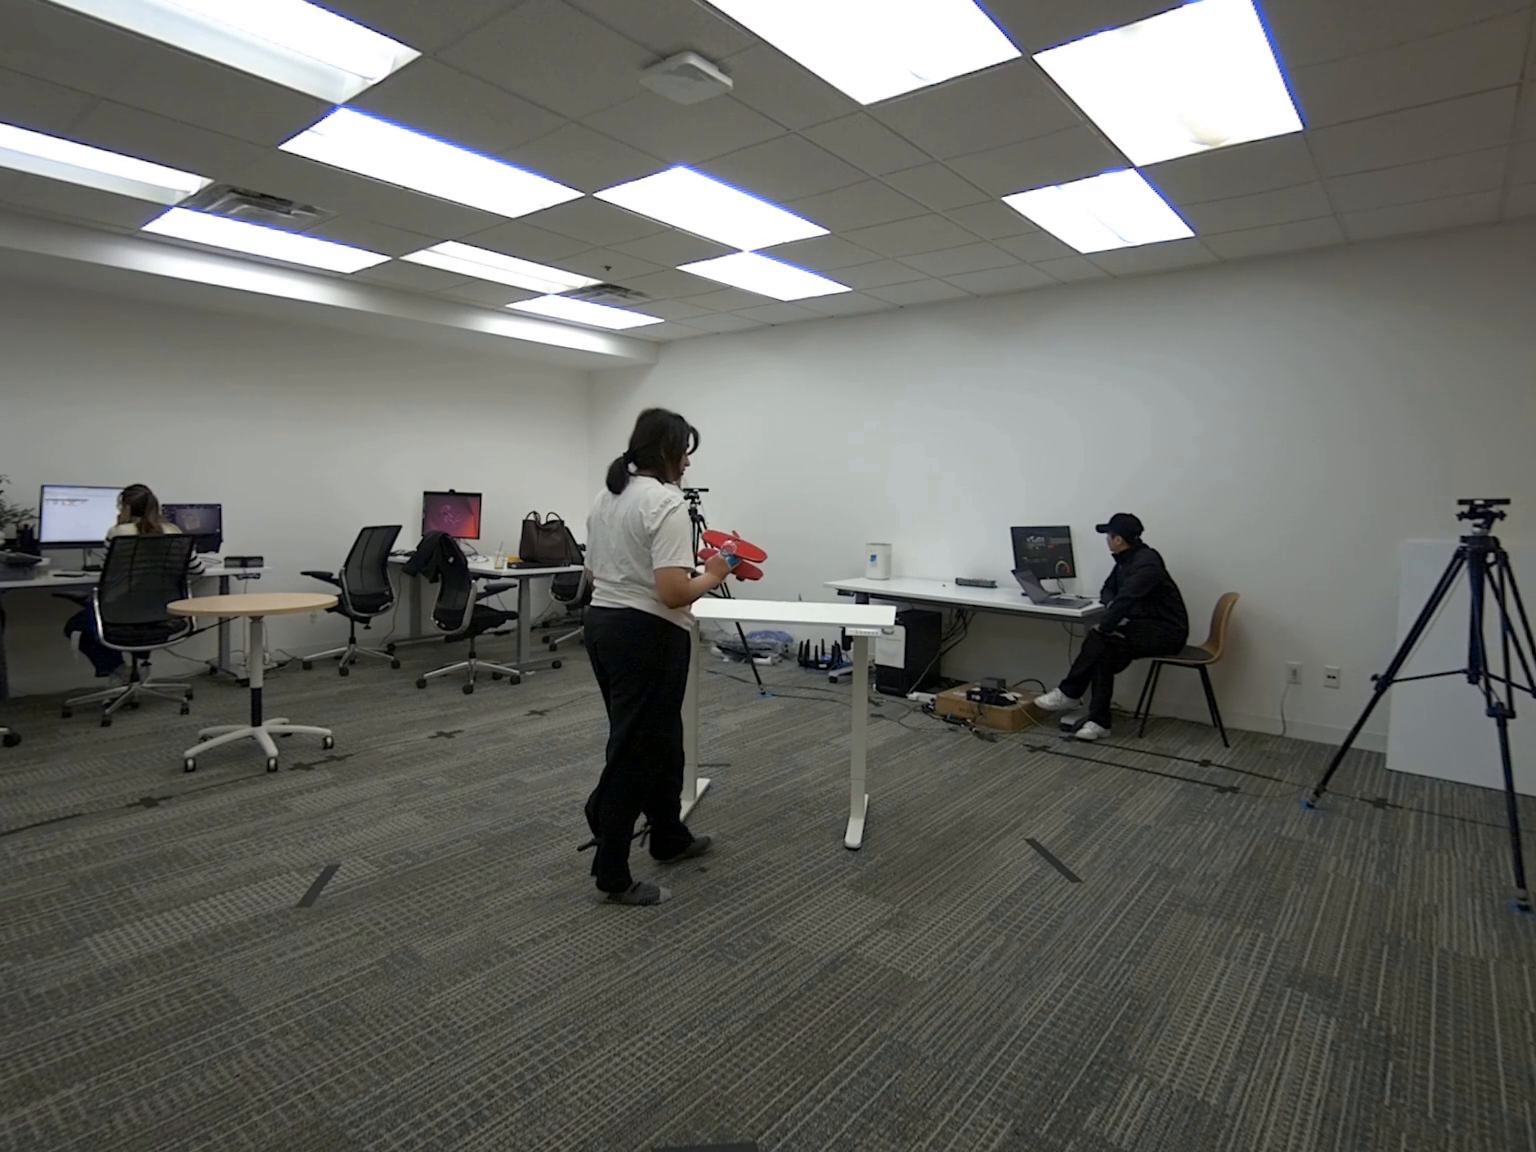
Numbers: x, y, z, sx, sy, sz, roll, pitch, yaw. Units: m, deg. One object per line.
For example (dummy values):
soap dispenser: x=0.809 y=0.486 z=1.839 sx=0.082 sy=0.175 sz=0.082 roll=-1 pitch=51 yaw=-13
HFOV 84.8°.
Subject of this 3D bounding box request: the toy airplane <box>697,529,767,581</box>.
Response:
toy airplane: x=-0.136 y=-0.044 z=3.025 sx=0.249 sy=0.154 sz=0.265 roll=13 pitch=19 yaw=-8
